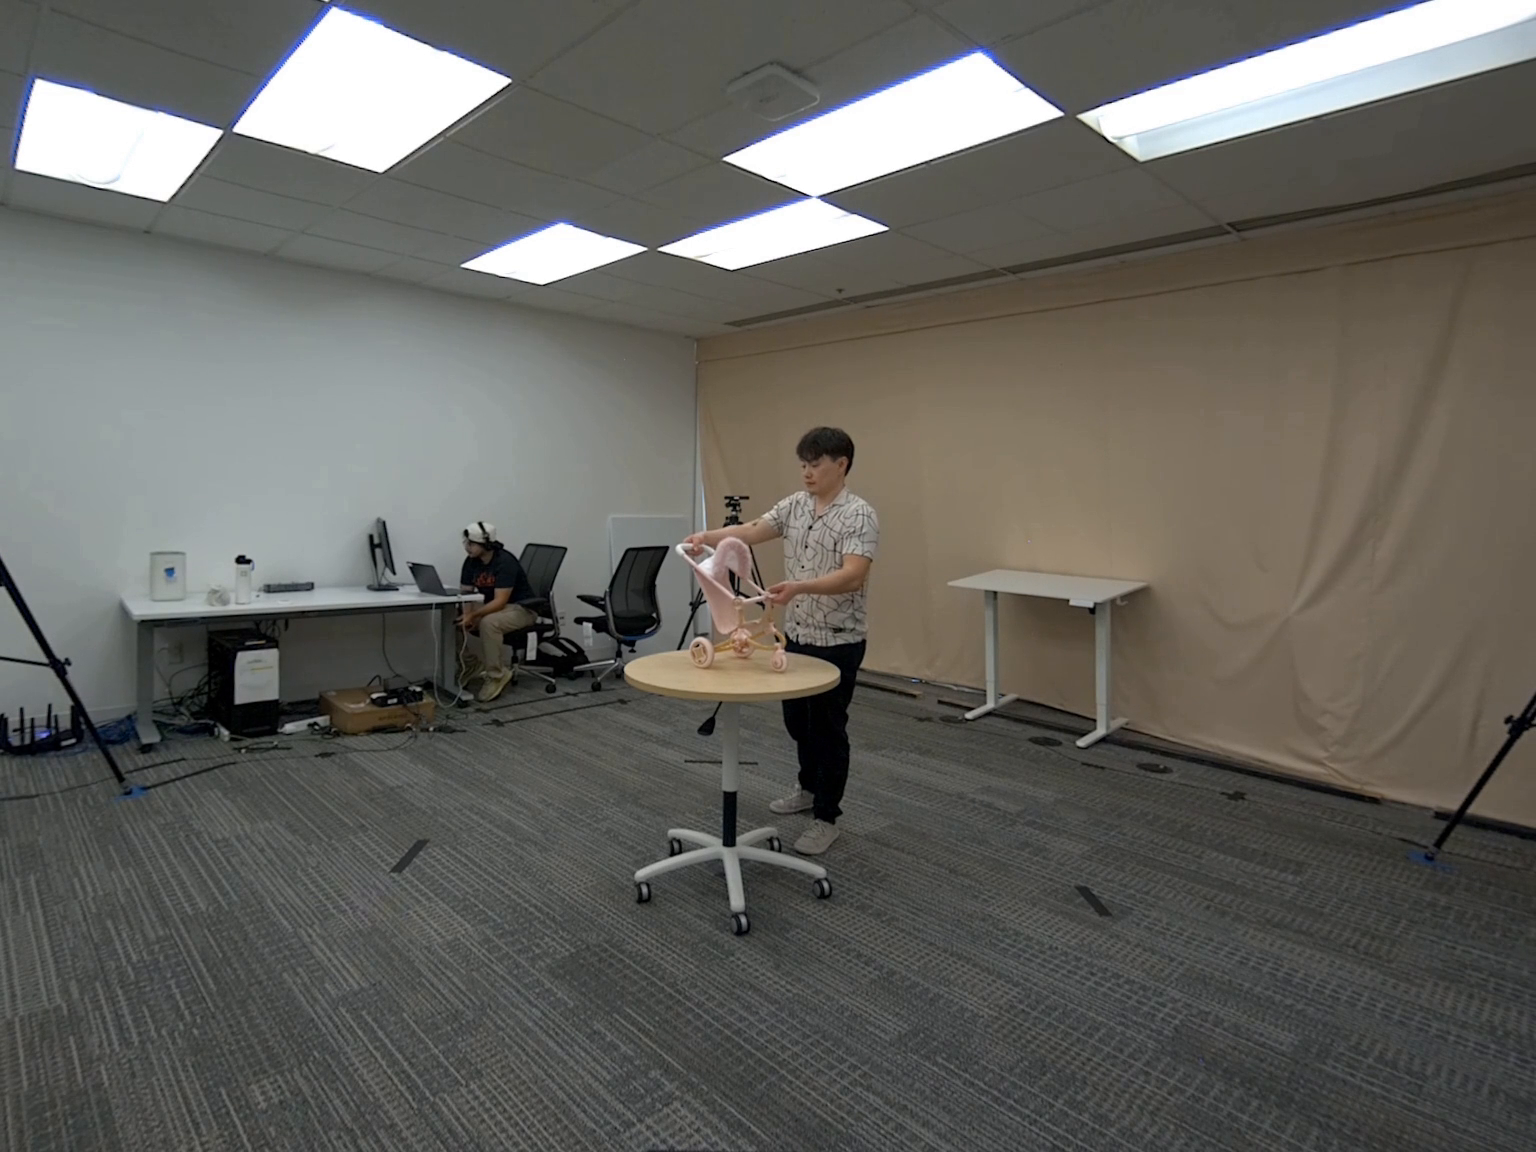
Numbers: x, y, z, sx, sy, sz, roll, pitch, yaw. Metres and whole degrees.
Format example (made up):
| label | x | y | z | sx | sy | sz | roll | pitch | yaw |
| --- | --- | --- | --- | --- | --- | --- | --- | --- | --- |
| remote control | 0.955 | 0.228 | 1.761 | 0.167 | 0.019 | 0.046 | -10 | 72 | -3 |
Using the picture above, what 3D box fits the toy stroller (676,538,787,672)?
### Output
| label | x | y | z | sx | sy | sz | roll | pitch | yaw |
| --- | --- | --- | --- | --- | --- | --- | --- | --- | --- |
| toy stroller | -0.123 | 0.099 | 3.039 | 0.347 | 0.538 | 0.275 | -16 | -8 | 39 |
